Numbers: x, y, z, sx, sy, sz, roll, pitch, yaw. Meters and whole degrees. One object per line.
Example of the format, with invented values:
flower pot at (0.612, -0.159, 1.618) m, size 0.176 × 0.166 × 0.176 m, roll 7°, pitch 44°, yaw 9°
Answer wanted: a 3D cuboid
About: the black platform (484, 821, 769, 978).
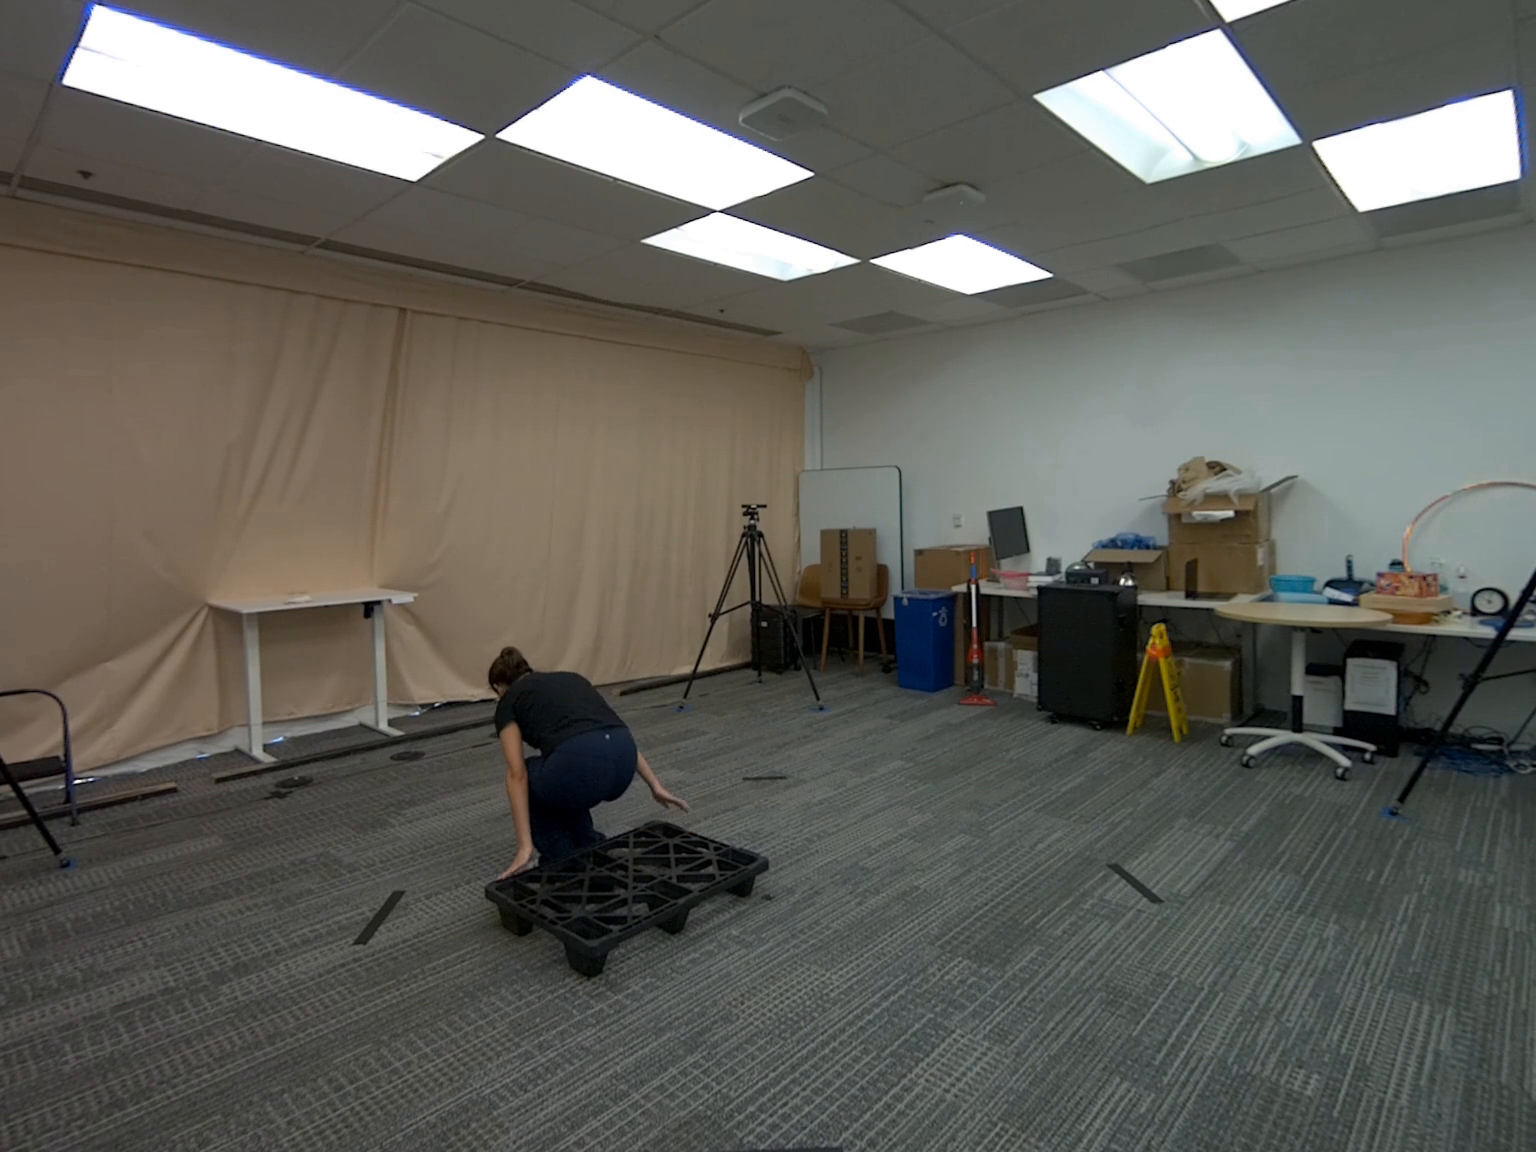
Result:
black platform at (-0.447, 1.087, 2.909) m, size 0.625 × 0.143 × 0.782 m, roll 4°, pitch 8°, yaw 41°
